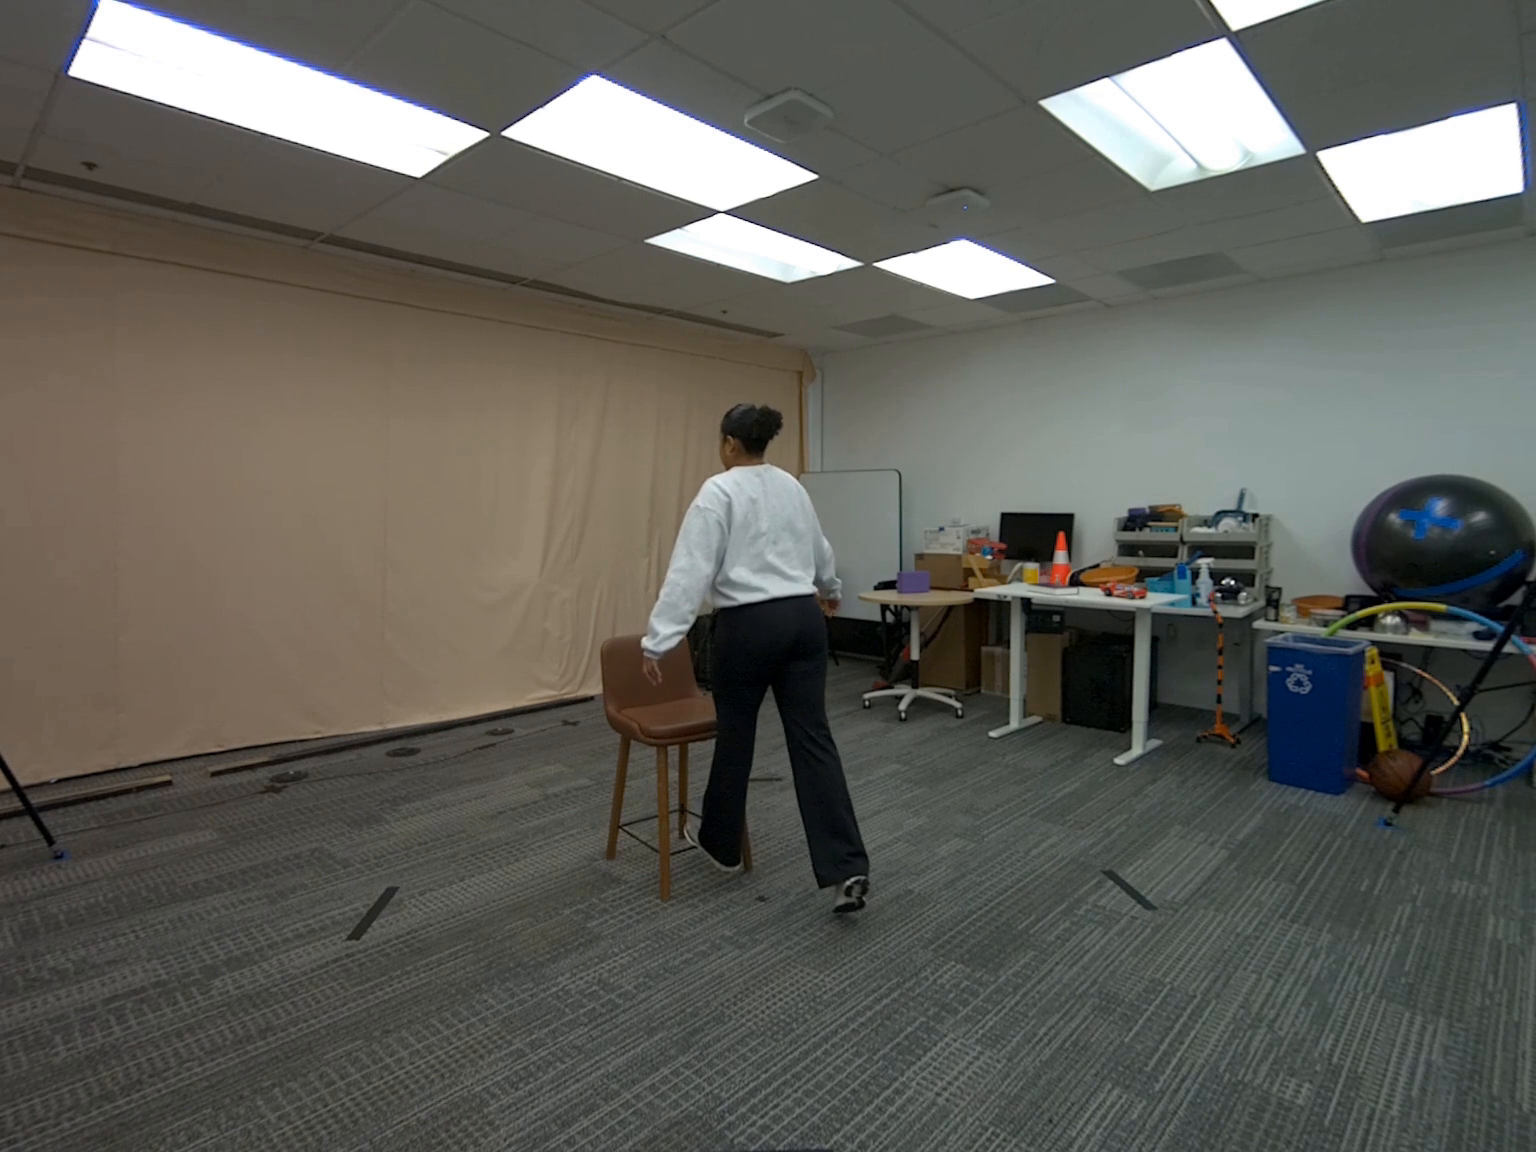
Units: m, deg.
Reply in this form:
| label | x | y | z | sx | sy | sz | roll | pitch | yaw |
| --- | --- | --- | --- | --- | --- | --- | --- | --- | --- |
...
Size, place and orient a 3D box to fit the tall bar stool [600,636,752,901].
| label | x | y | z | sx | sy | sz | roll | pitch | yaw |
| --- | --- | --- | --- | --- | --- | --- | --- | --- | --- |
| tall bar stool | -0.366 | 0.686 | 3.253 | 0.443 | 0.888 | 0.482 | -3 | 2 | -38 |
